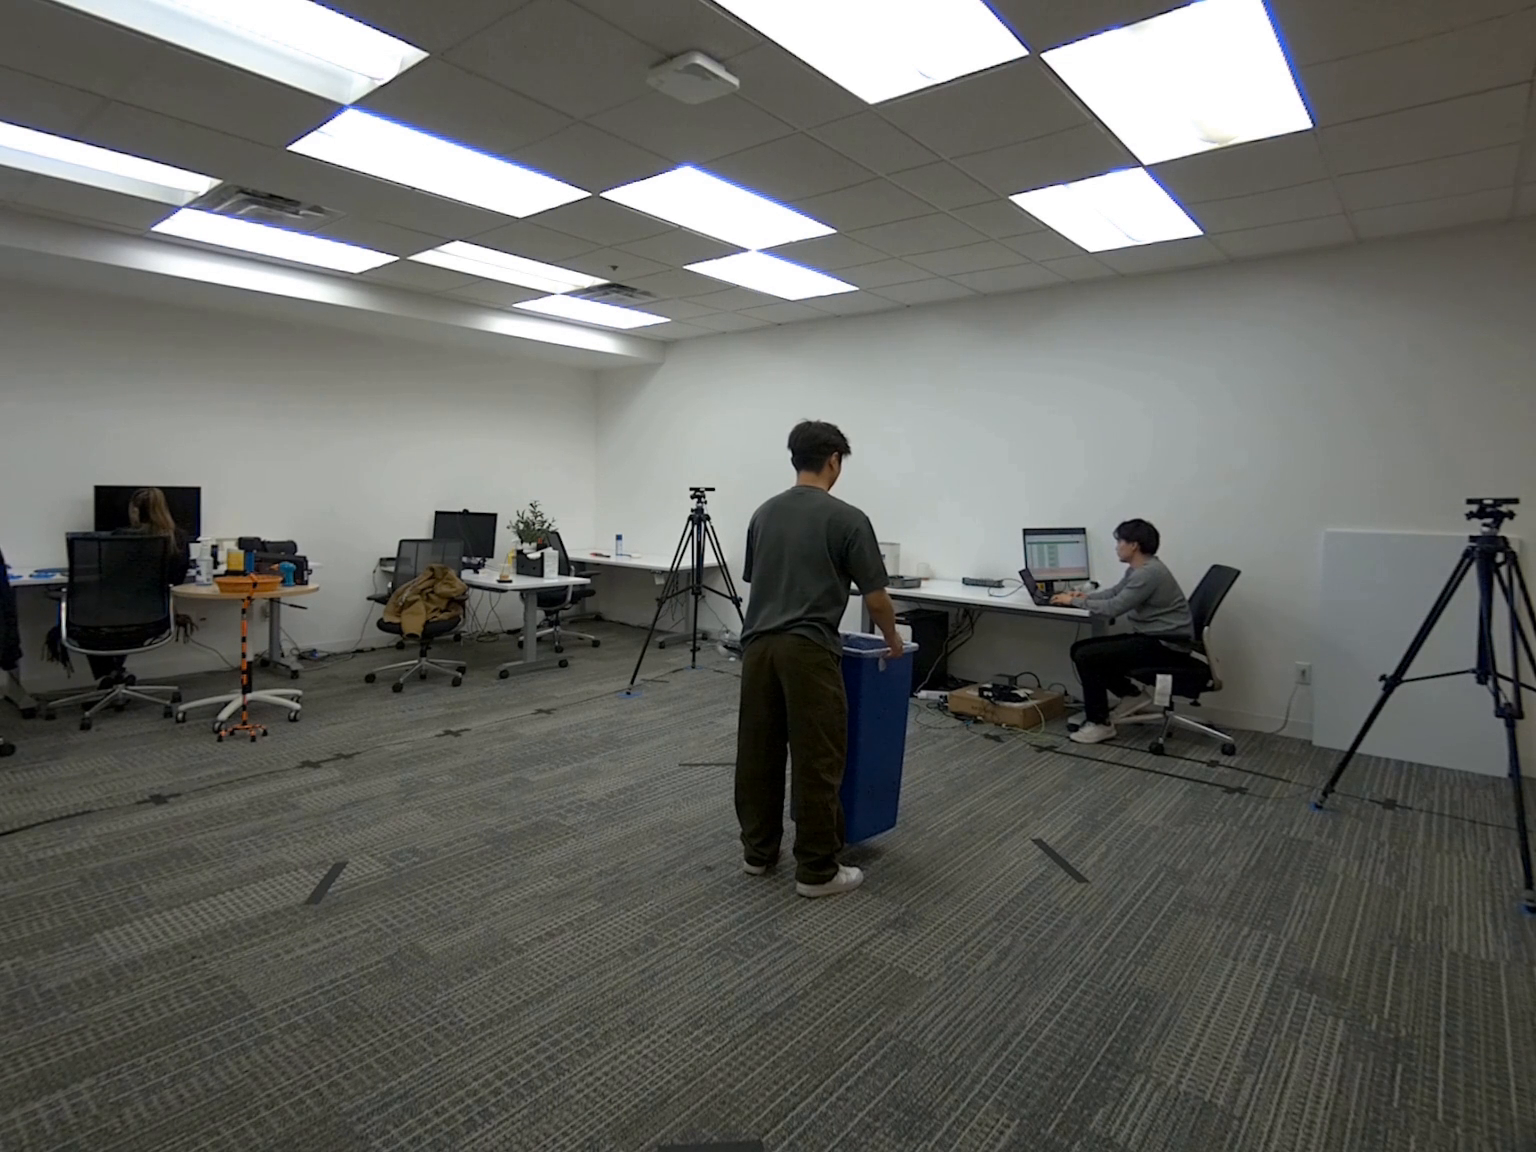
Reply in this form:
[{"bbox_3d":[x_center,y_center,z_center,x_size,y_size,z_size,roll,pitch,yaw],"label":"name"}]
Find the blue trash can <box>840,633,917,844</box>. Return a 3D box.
[{"bbox_3d":[0.299,0.597,3.287,0.387,0.712,0.366,7,4,44],"label":"blue trash can"}]
